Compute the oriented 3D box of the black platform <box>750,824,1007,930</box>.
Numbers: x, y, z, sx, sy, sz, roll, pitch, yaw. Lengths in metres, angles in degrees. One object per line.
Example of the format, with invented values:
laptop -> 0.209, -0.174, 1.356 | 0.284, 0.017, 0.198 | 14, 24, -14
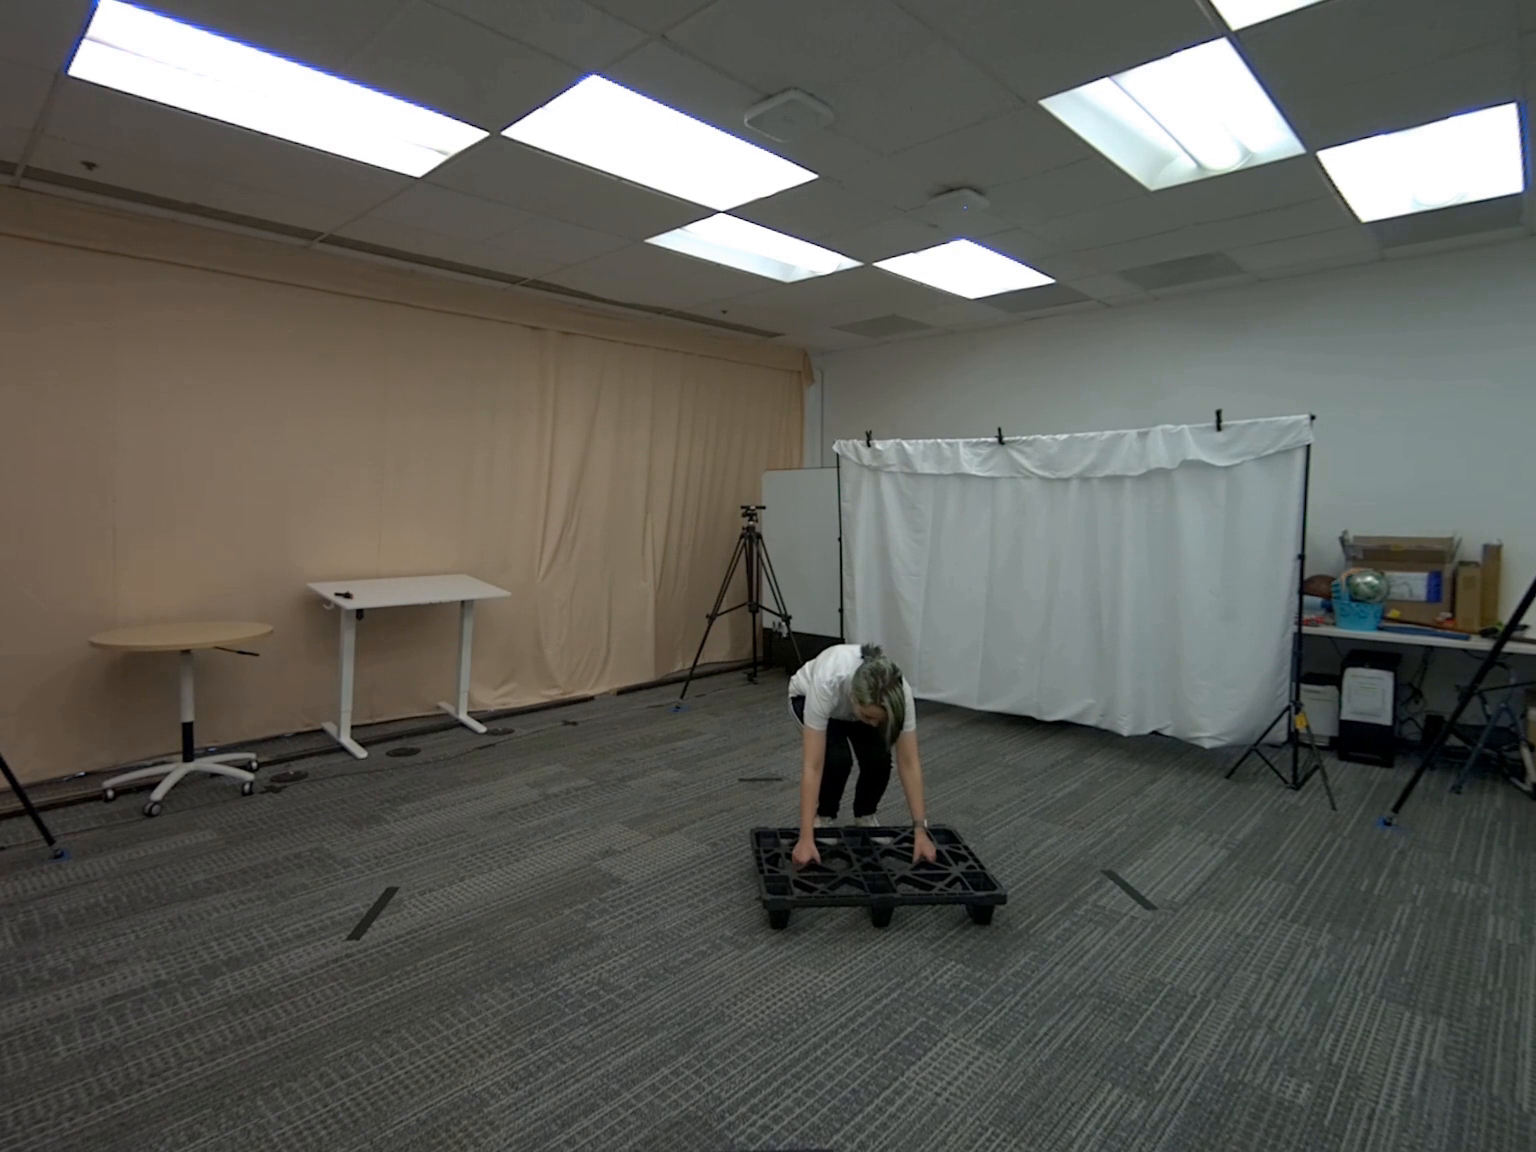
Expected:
black platform -> 0.351, 1.069, 3.010 | 0.804, 0.143, 0.608 | 0, 4, -3
